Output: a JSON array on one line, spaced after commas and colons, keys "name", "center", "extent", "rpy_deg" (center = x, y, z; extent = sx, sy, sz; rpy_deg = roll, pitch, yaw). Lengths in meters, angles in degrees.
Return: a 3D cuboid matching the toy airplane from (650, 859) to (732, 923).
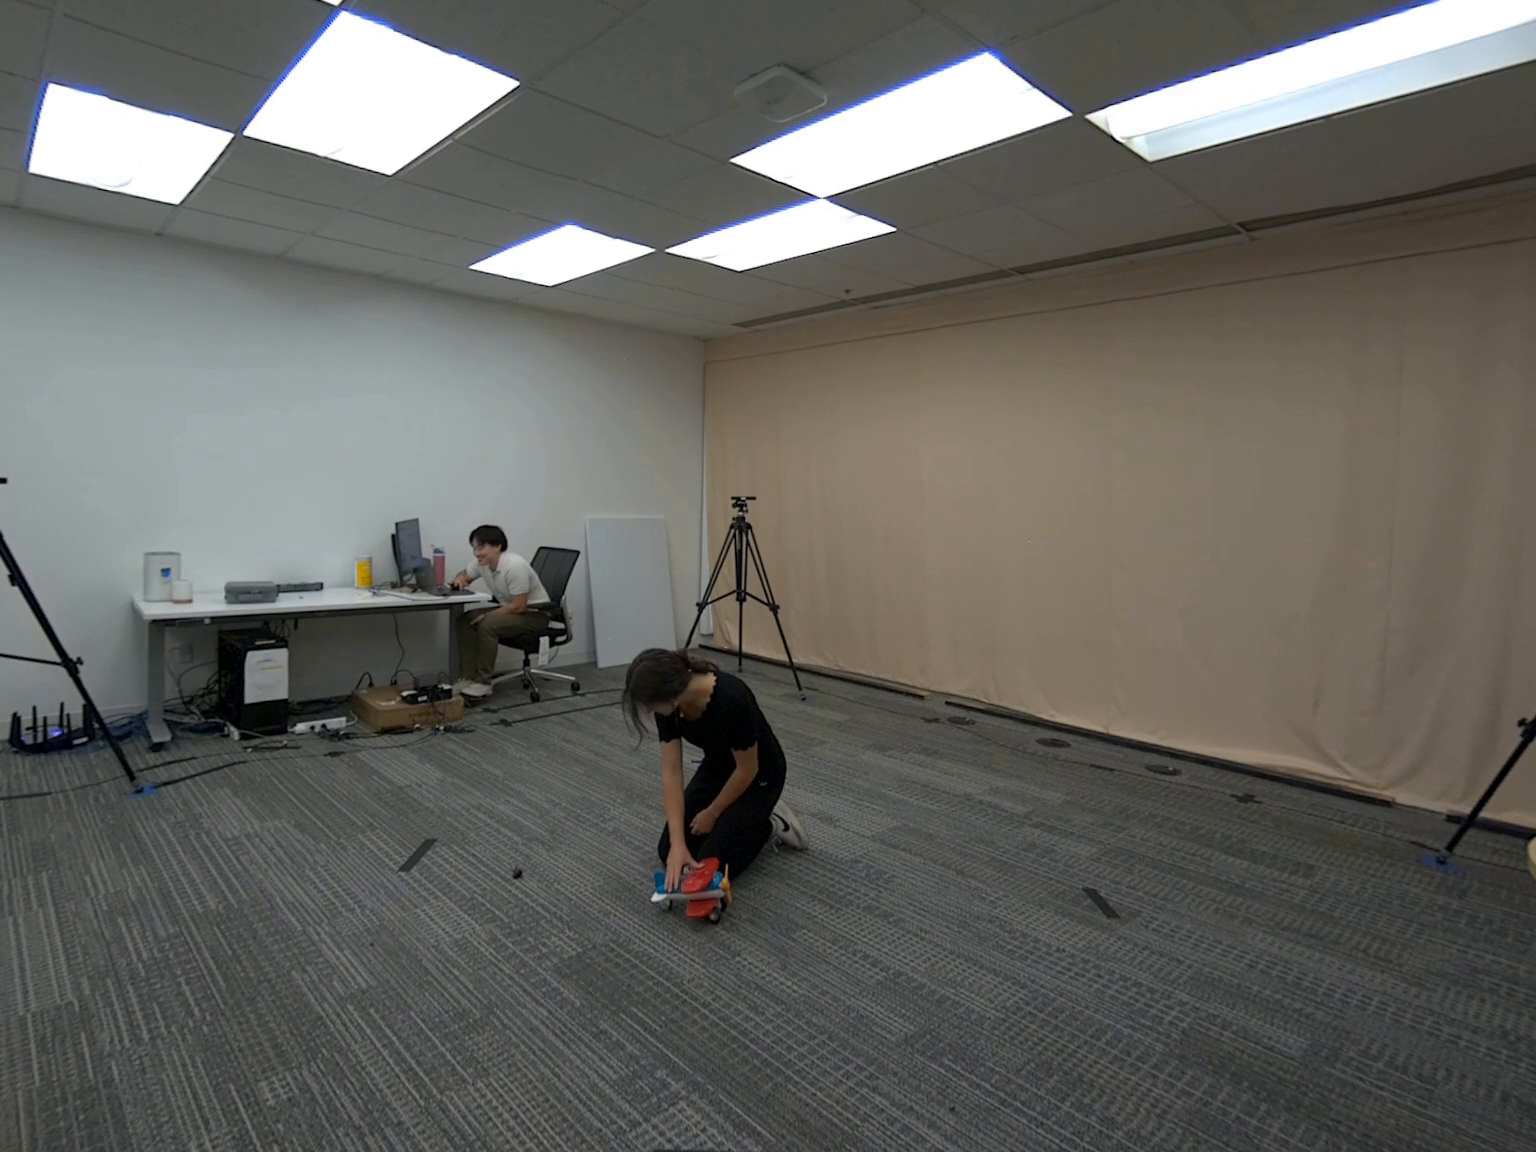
[{"name": "toy airplane", "center": [-0.269, 1.064, 2.788], "extent": [0.256, 0.156, 0.255], "rpy_deg": [0, 4, -16]}]
